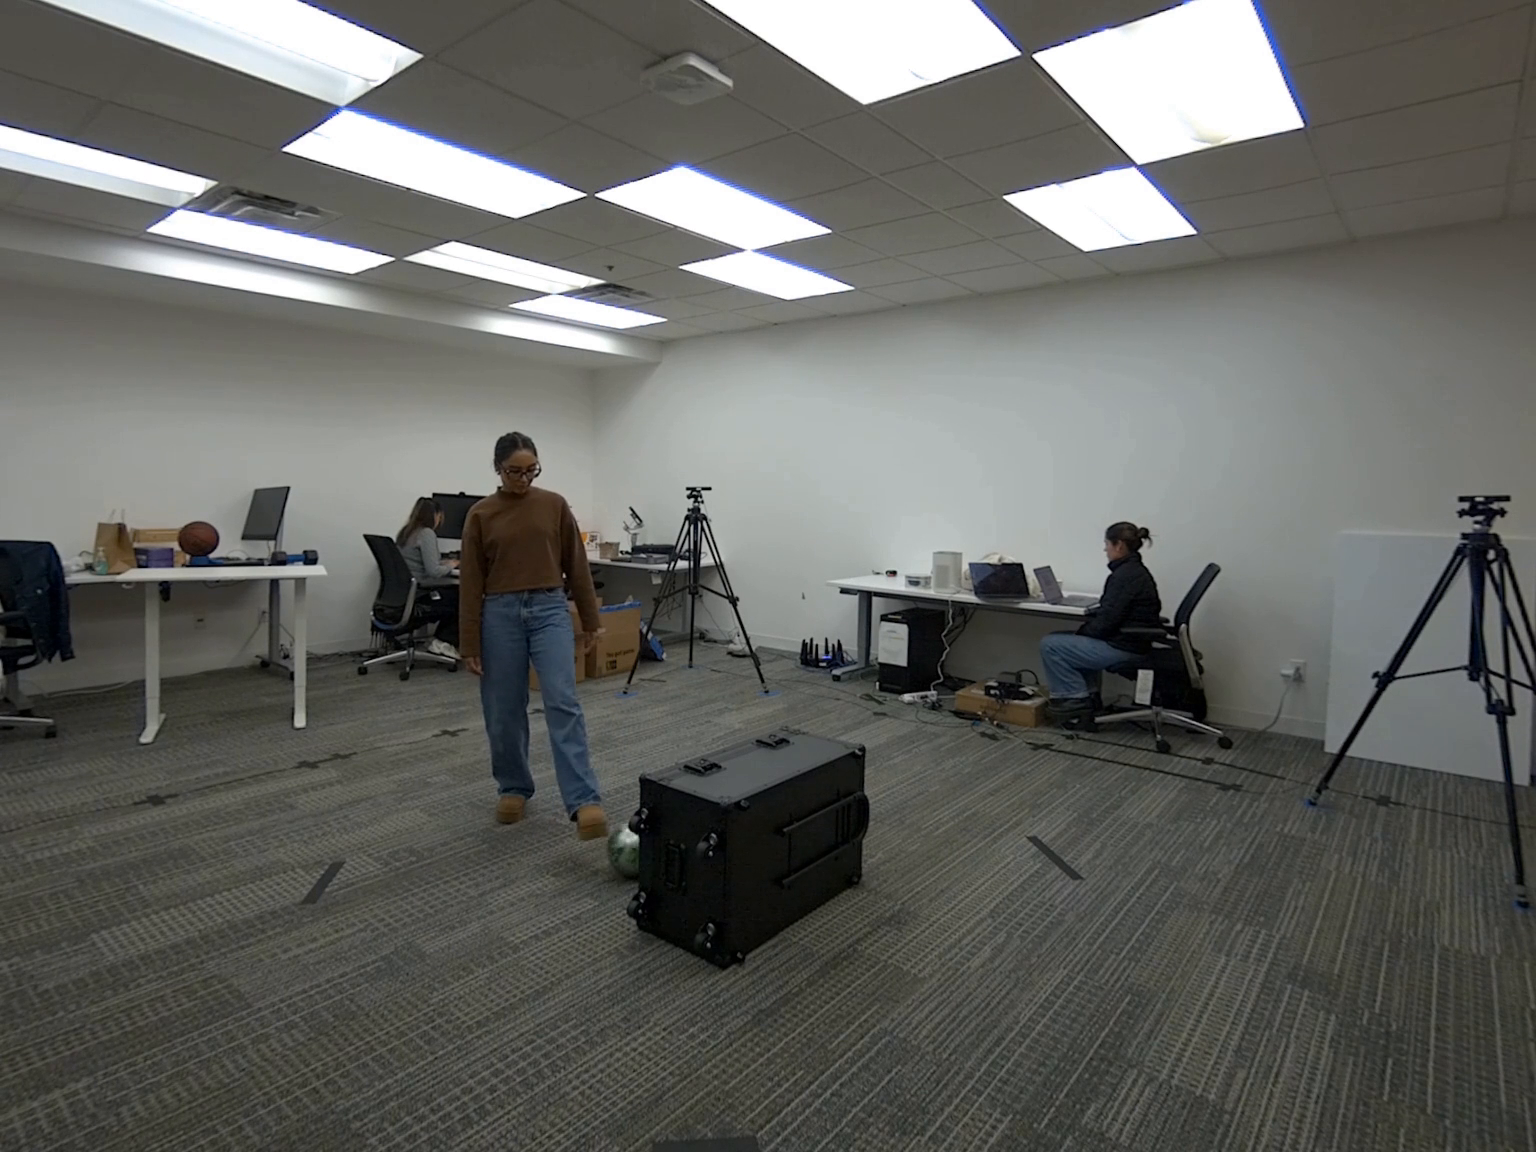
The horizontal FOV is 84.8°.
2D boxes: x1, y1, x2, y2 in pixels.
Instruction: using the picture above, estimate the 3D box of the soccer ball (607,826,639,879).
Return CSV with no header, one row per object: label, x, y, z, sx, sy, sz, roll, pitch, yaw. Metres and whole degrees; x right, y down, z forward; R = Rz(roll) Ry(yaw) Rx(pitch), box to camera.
soccer ball,-0.515,0.972,3.050,0.187,0.187,0.188,1,4,-2
